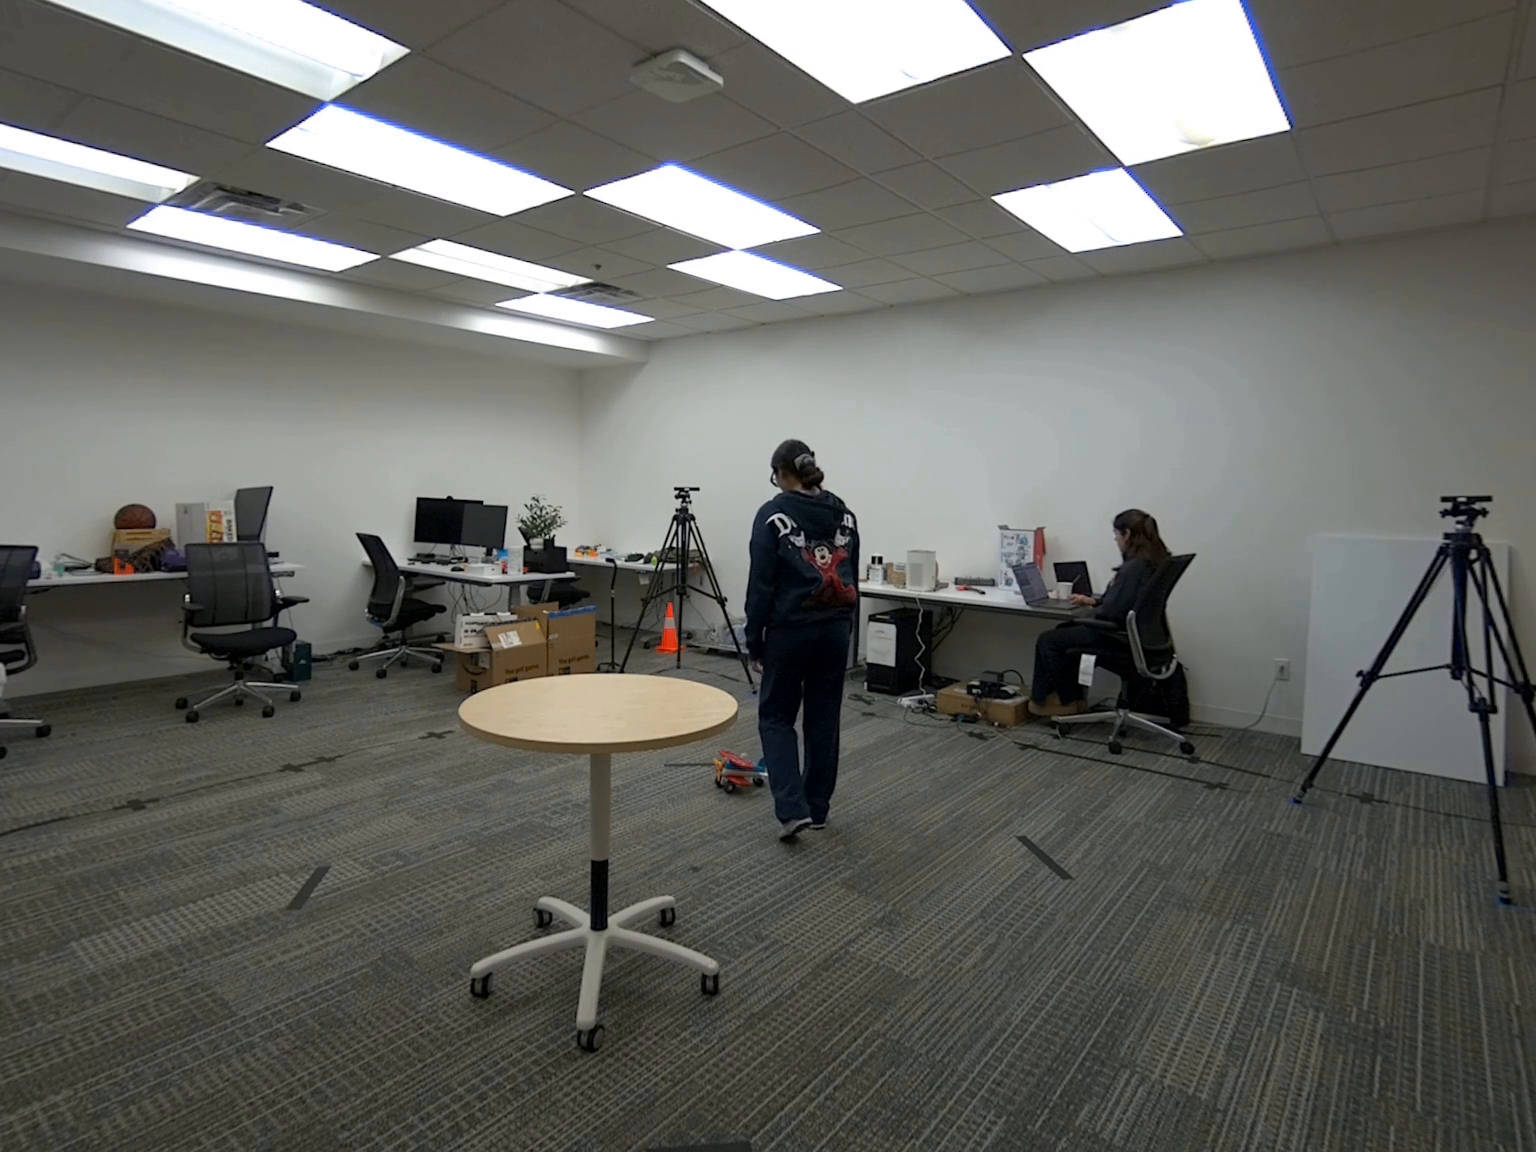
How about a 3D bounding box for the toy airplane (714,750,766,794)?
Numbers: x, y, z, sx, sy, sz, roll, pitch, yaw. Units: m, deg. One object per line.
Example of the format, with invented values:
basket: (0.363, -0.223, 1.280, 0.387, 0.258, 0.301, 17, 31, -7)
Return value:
toy airplane: (-0.136, 0.909, 3.991, 0.259, 0.156, 0.252, 4, 7, 34)
